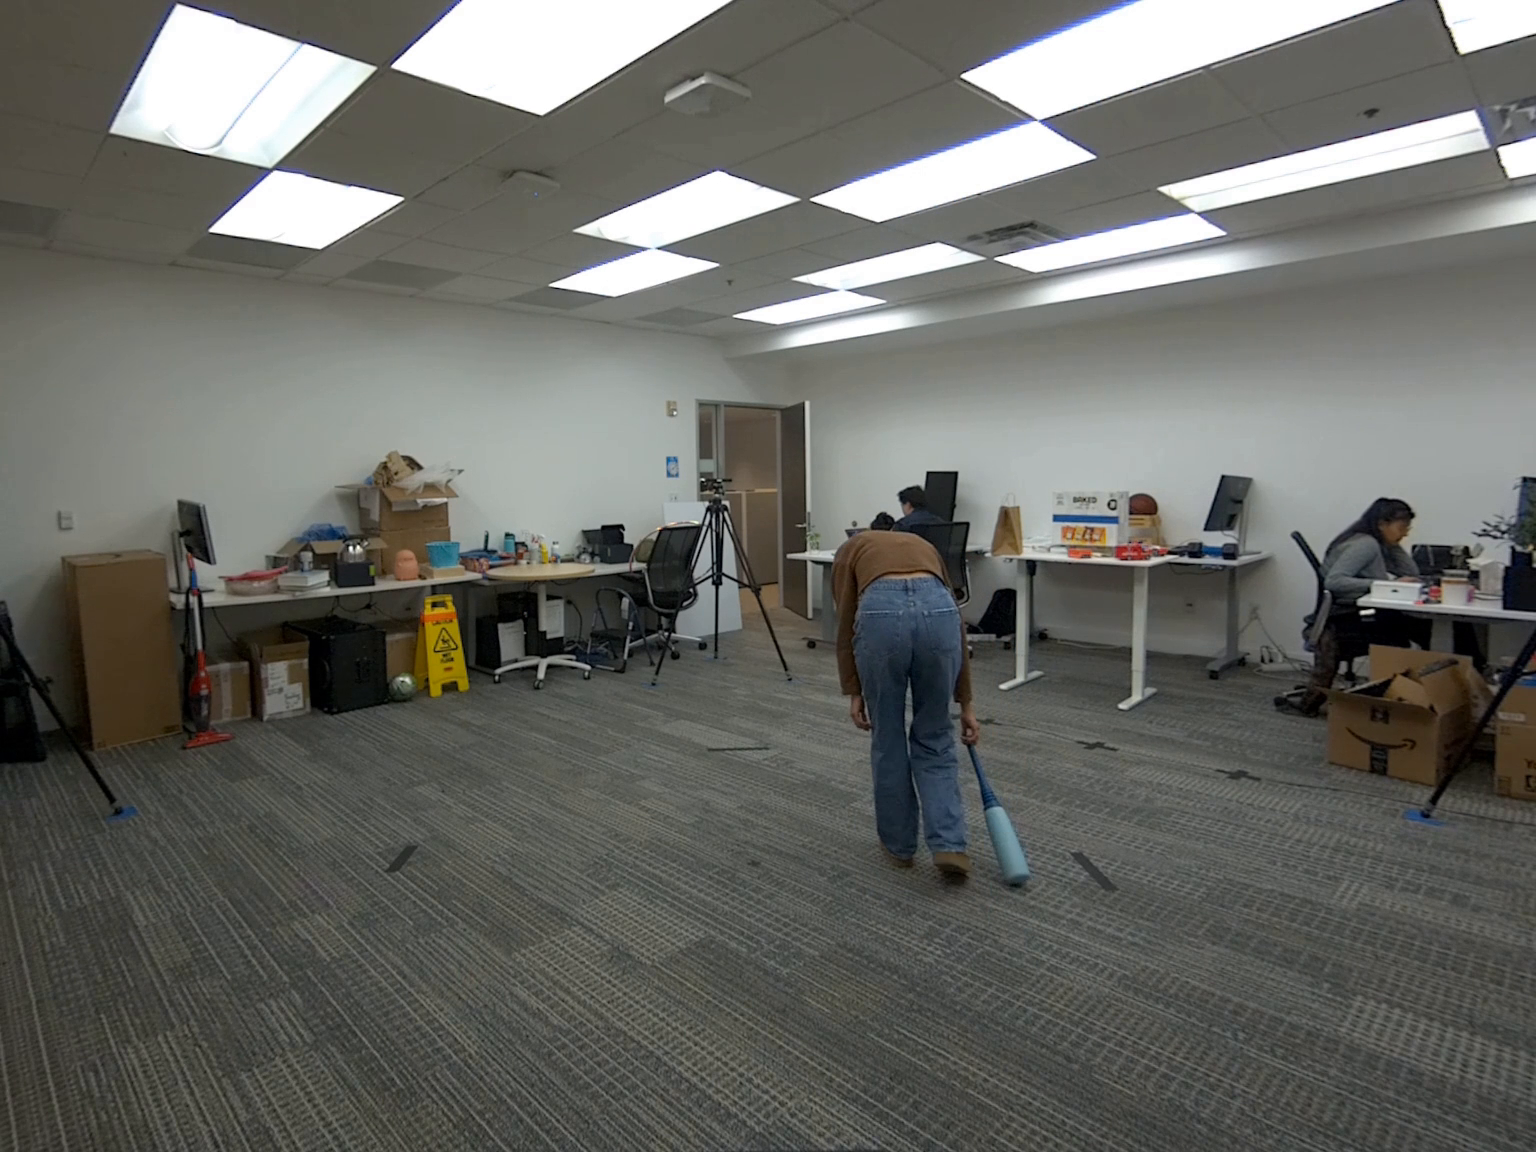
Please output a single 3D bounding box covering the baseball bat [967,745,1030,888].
[{"bbox_3d":[0.800,0.820,3.060,0.088,0.561,0.087,-2,-42,-11],"label":"baseball bat"}]
